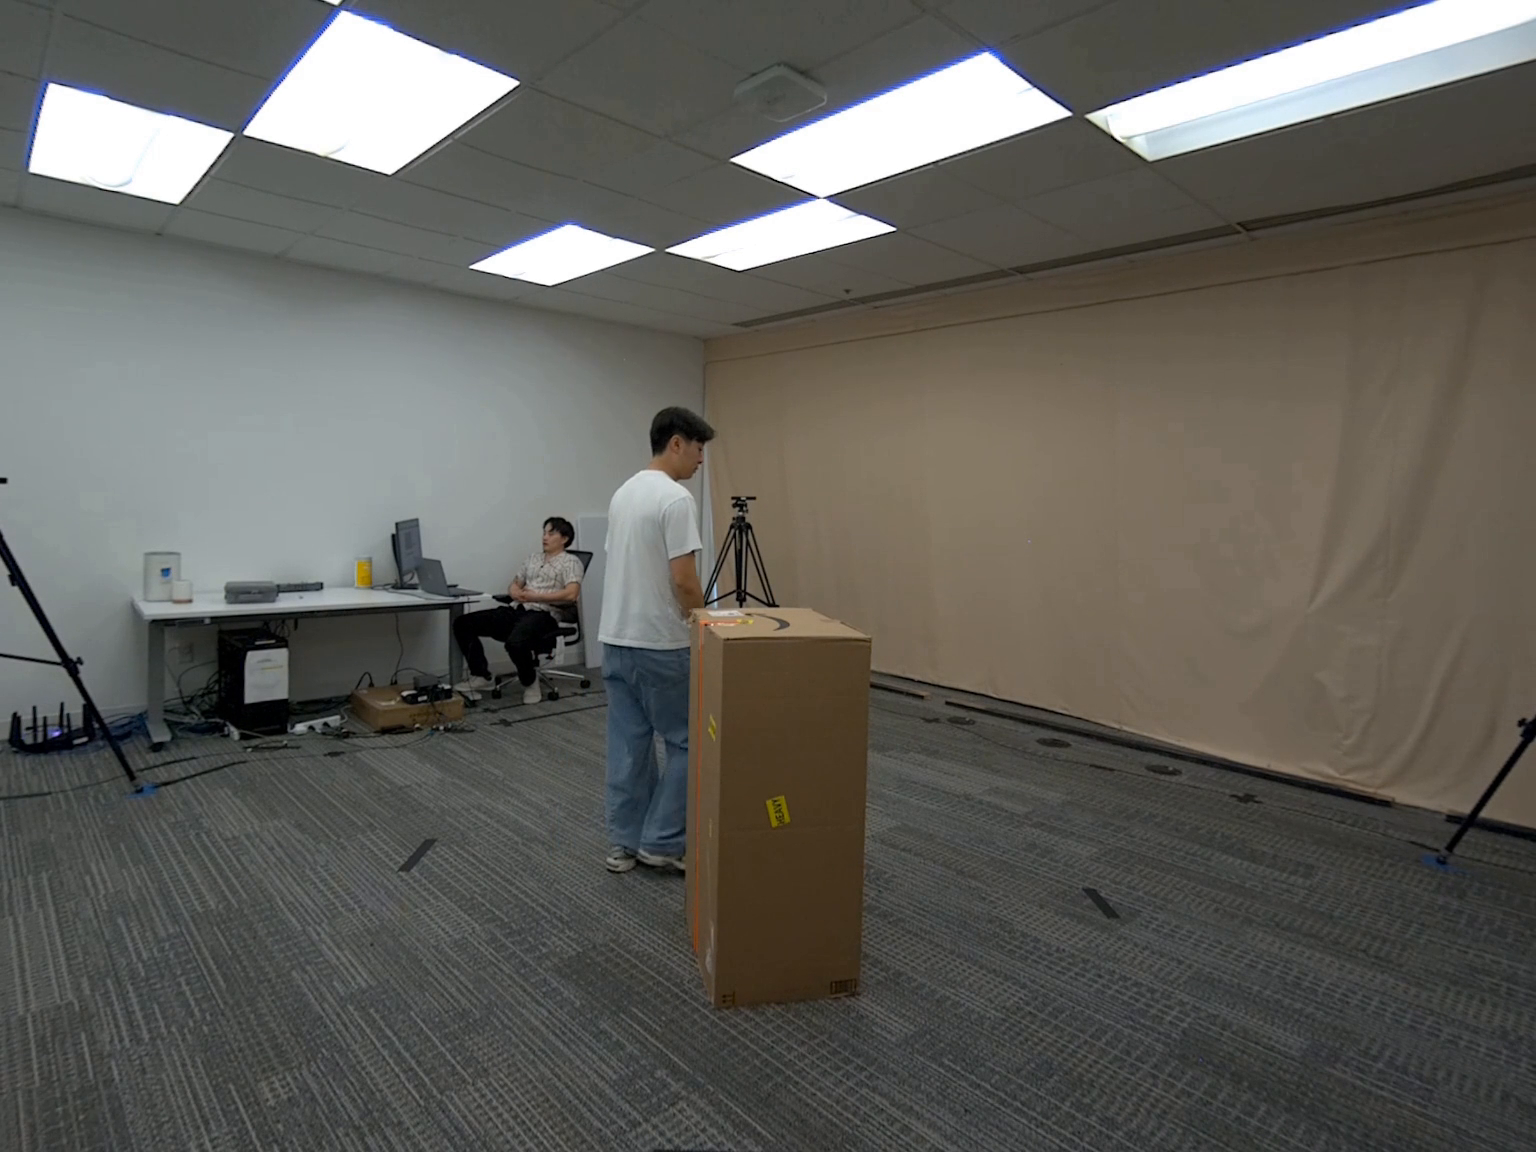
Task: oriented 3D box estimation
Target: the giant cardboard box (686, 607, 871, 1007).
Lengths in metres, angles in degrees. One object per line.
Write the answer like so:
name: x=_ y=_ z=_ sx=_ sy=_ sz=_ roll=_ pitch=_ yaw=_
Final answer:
giant cardboard box: x=0.000 y=0.648 z=2.576 sx=0.421 sy=1.023 sz=0.585 roll=1 pitch=4 yaw=-14
